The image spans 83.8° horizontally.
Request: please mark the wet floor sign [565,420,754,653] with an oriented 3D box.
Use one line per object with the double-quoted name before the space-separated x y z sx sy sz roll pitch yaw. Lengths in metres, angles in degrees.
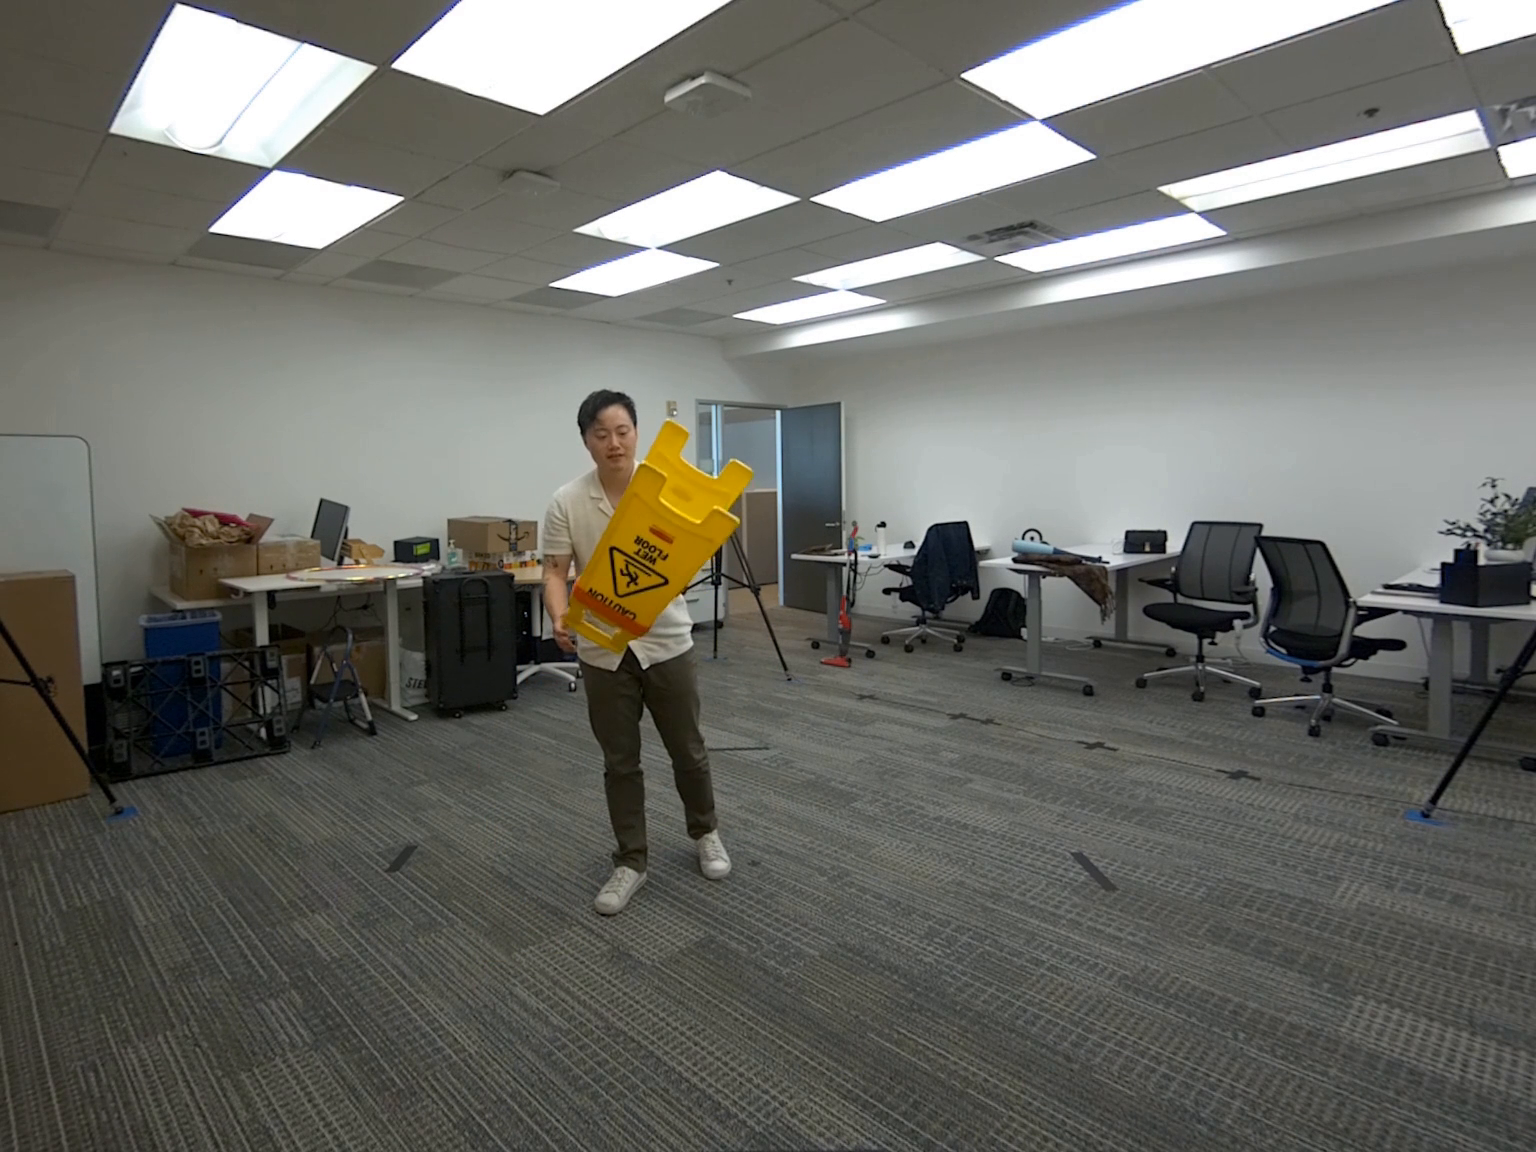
"wet floor sign" -0.338 -0.044 2.300 0.279 0.643 0.294 32 27 -9
